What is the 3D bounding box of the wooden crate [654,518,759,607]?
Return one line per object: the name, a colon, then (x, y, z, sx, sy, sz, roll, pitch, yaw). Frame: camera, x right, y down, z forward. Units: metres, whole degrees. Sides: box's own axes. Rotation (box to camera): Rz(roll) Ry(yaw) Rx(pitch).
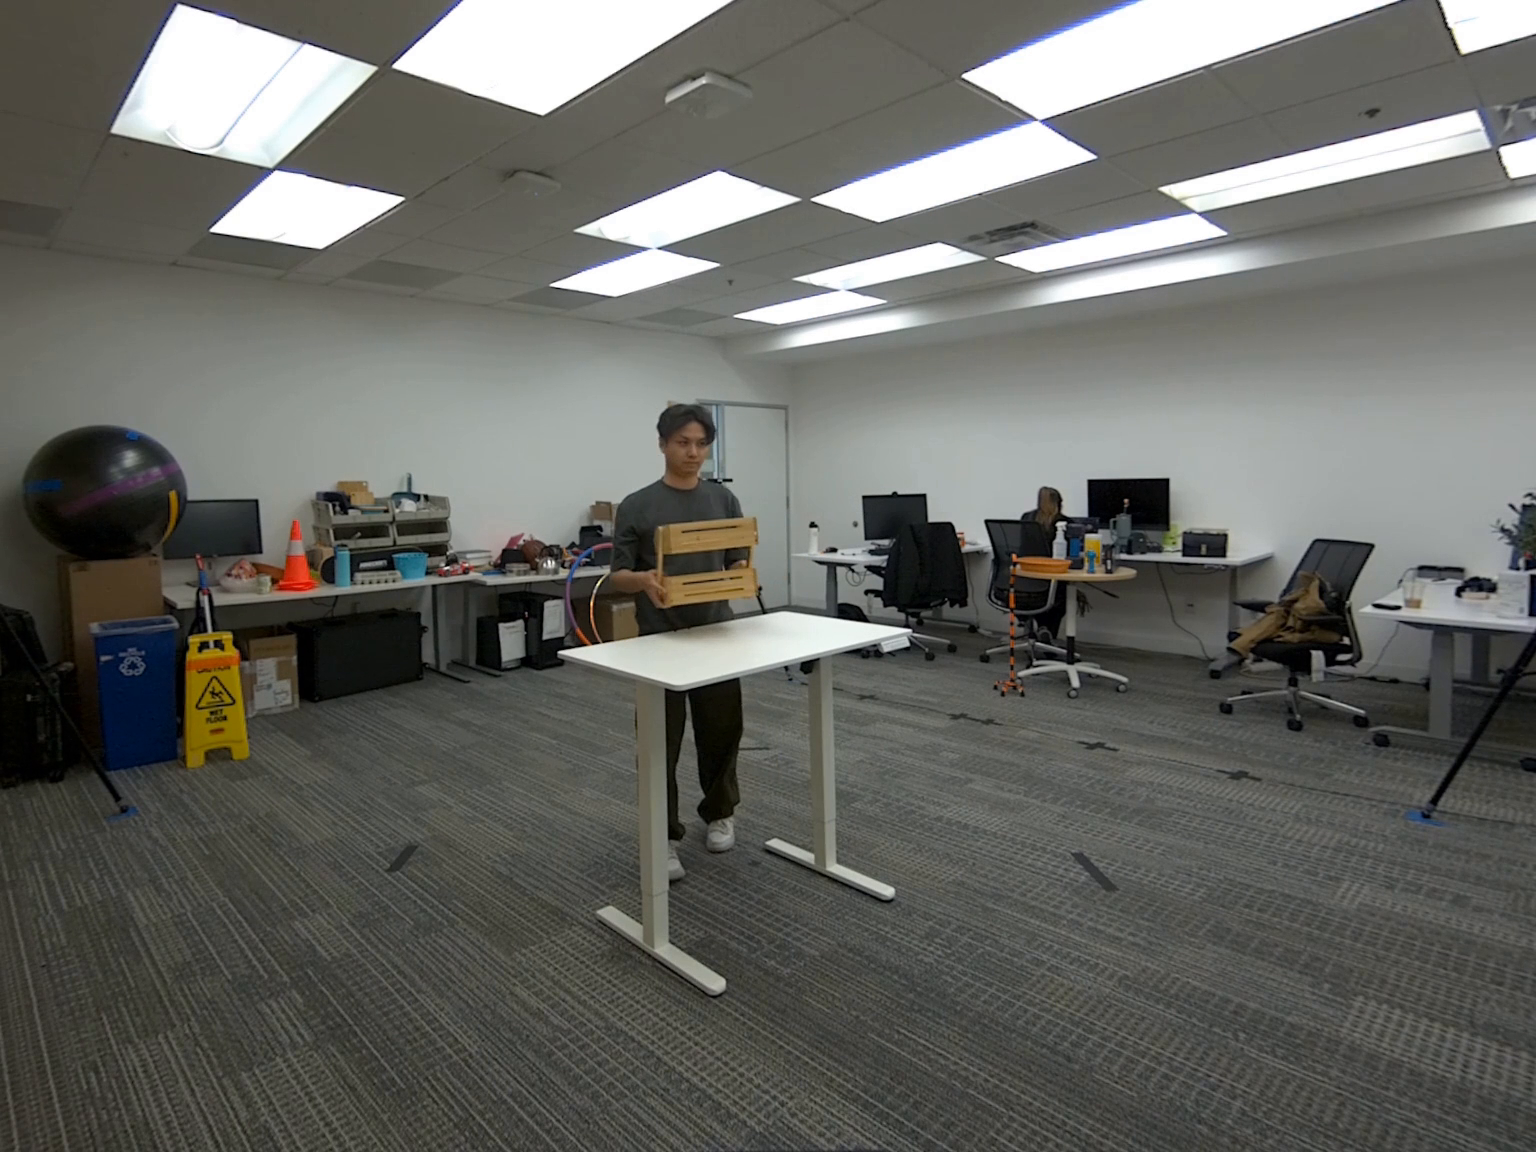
wooden crate: (-0.222, -0.052, 2.880, 0.320, 0.273, 0.307, -6, 2, -18)
